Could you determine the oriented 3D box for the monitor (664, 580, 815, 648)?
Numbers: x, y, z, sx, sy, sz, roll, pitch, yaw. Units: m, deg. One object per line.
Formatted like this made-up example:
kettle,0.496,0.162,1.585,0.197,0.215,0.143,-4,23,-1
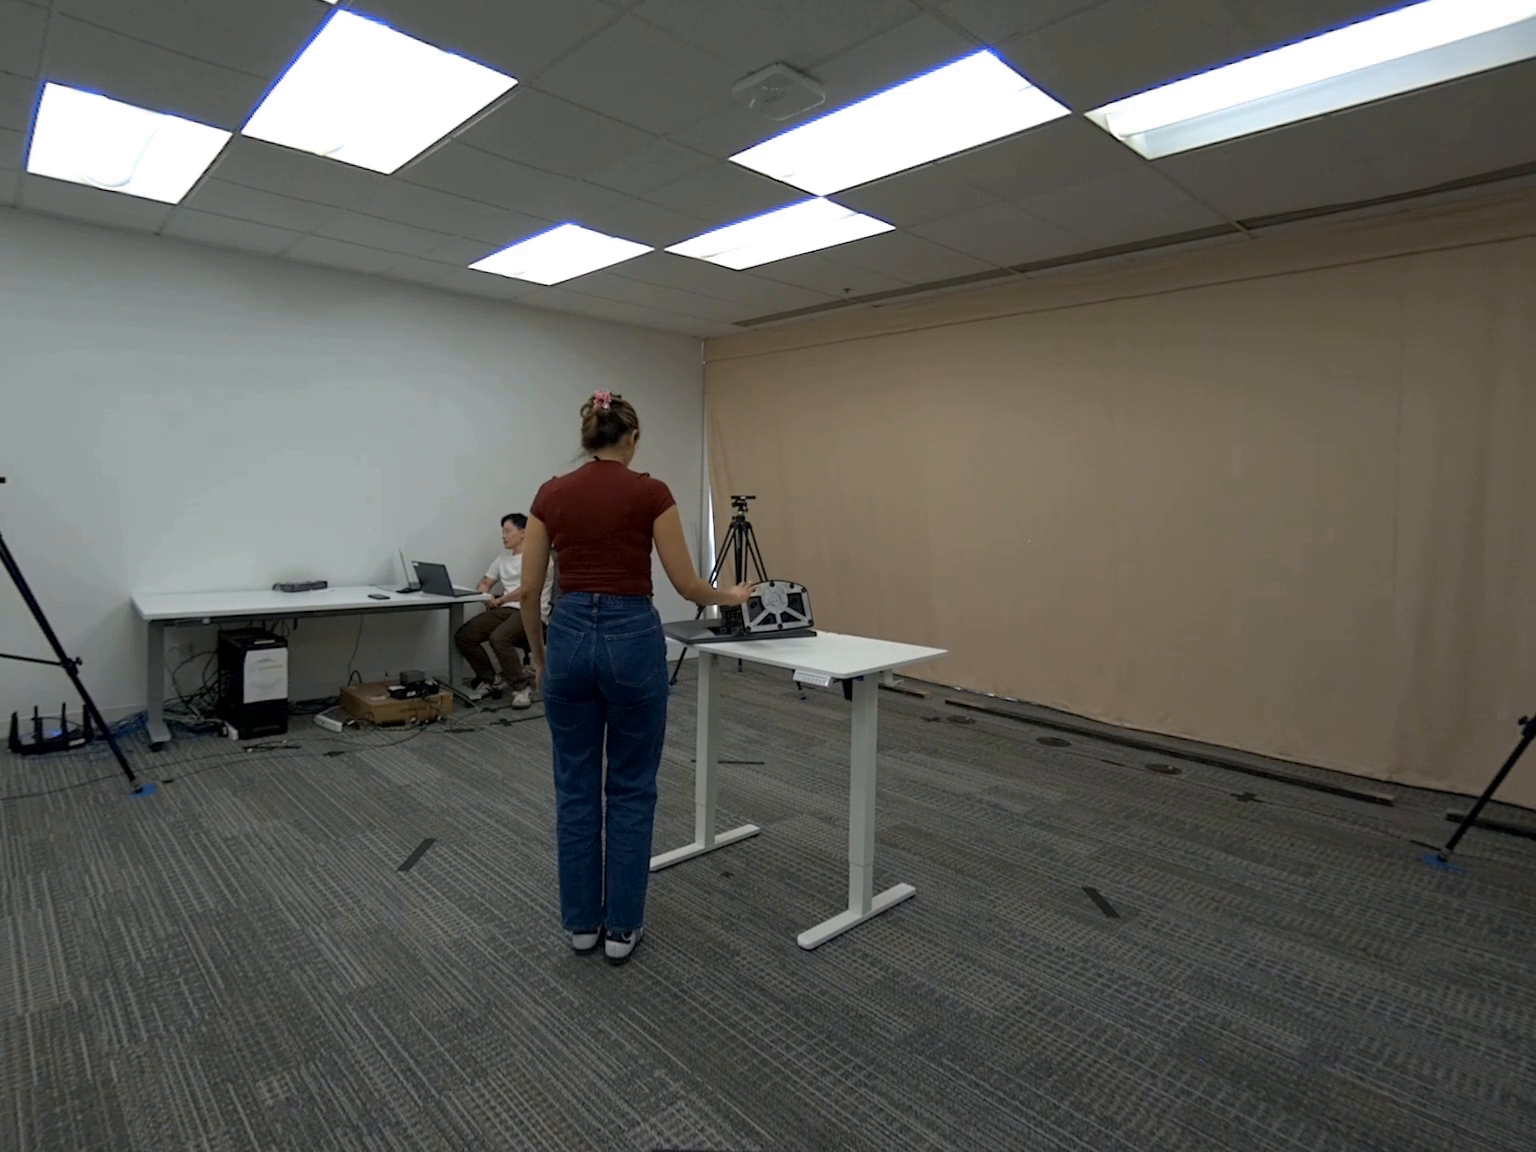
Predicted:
monitor,-0.103,0.157,3.096,0.529,0.189,0.528,0,-12,-28
